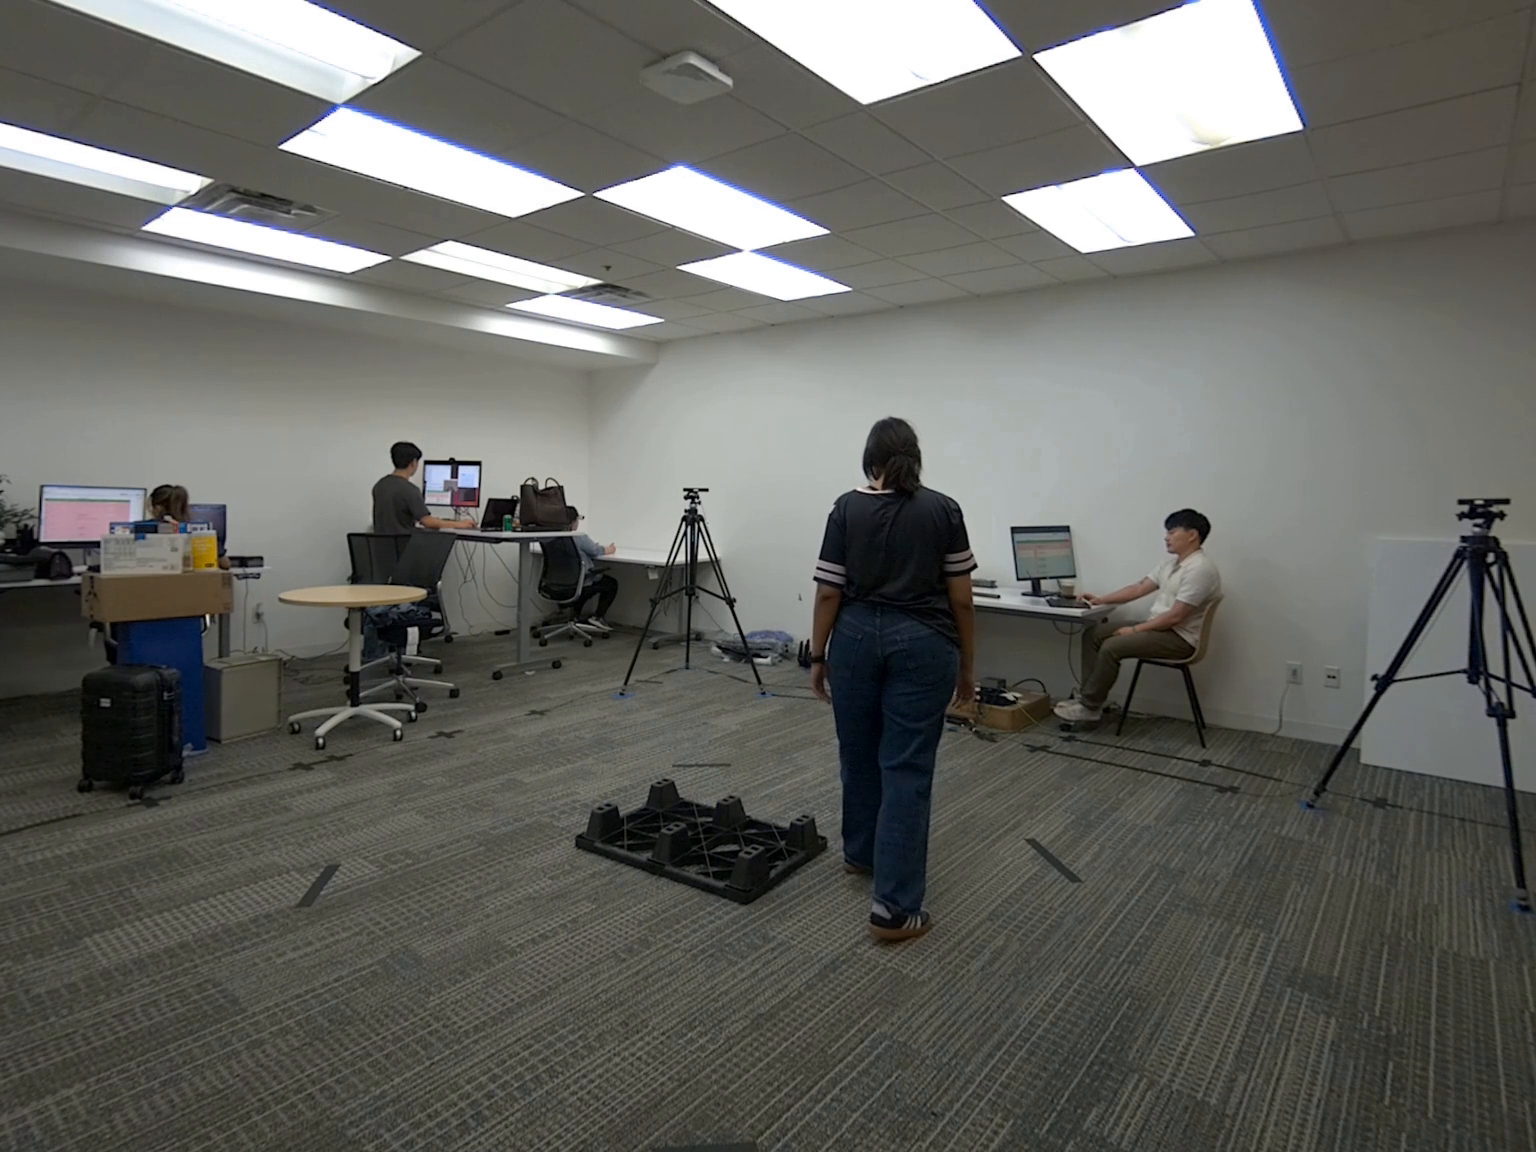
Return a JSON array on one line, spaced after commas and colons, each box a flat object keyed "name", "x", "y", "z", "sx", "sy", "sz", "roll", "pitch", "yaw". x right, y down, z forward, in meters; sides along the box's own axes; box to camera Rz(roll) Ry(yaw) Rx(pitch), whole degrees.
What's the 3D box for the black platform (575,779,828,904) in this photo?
[{"name": "black platform", "x": -0.261, "y": 0.985, "z": 3.302, "sx": 0.831, "sy": 0.143, "sz": 0.589, "roll": 5, "pitch": 7, "yaw": 33}]
